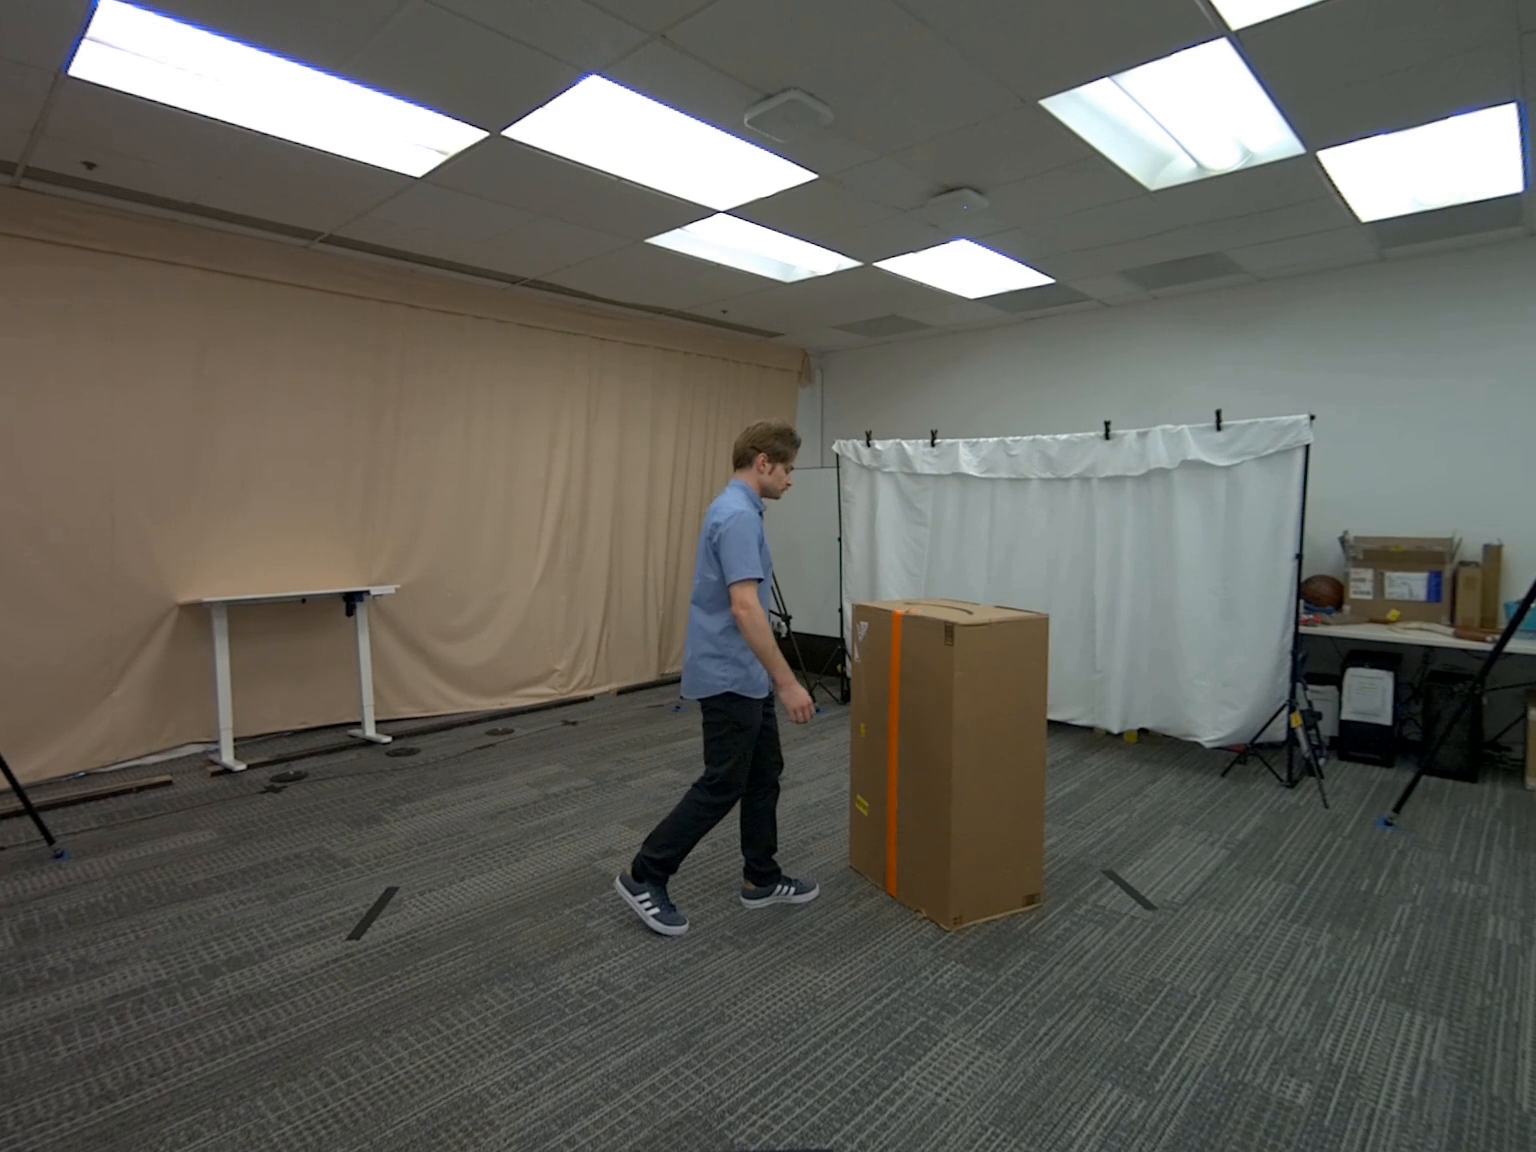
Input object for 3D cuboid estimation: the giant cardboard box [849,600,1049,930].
[{"bbox_3d":[0.639,0.627,3.064,0.415,1.024,0.594,-1,4,-28],"label":"giant cardboard box"}]
